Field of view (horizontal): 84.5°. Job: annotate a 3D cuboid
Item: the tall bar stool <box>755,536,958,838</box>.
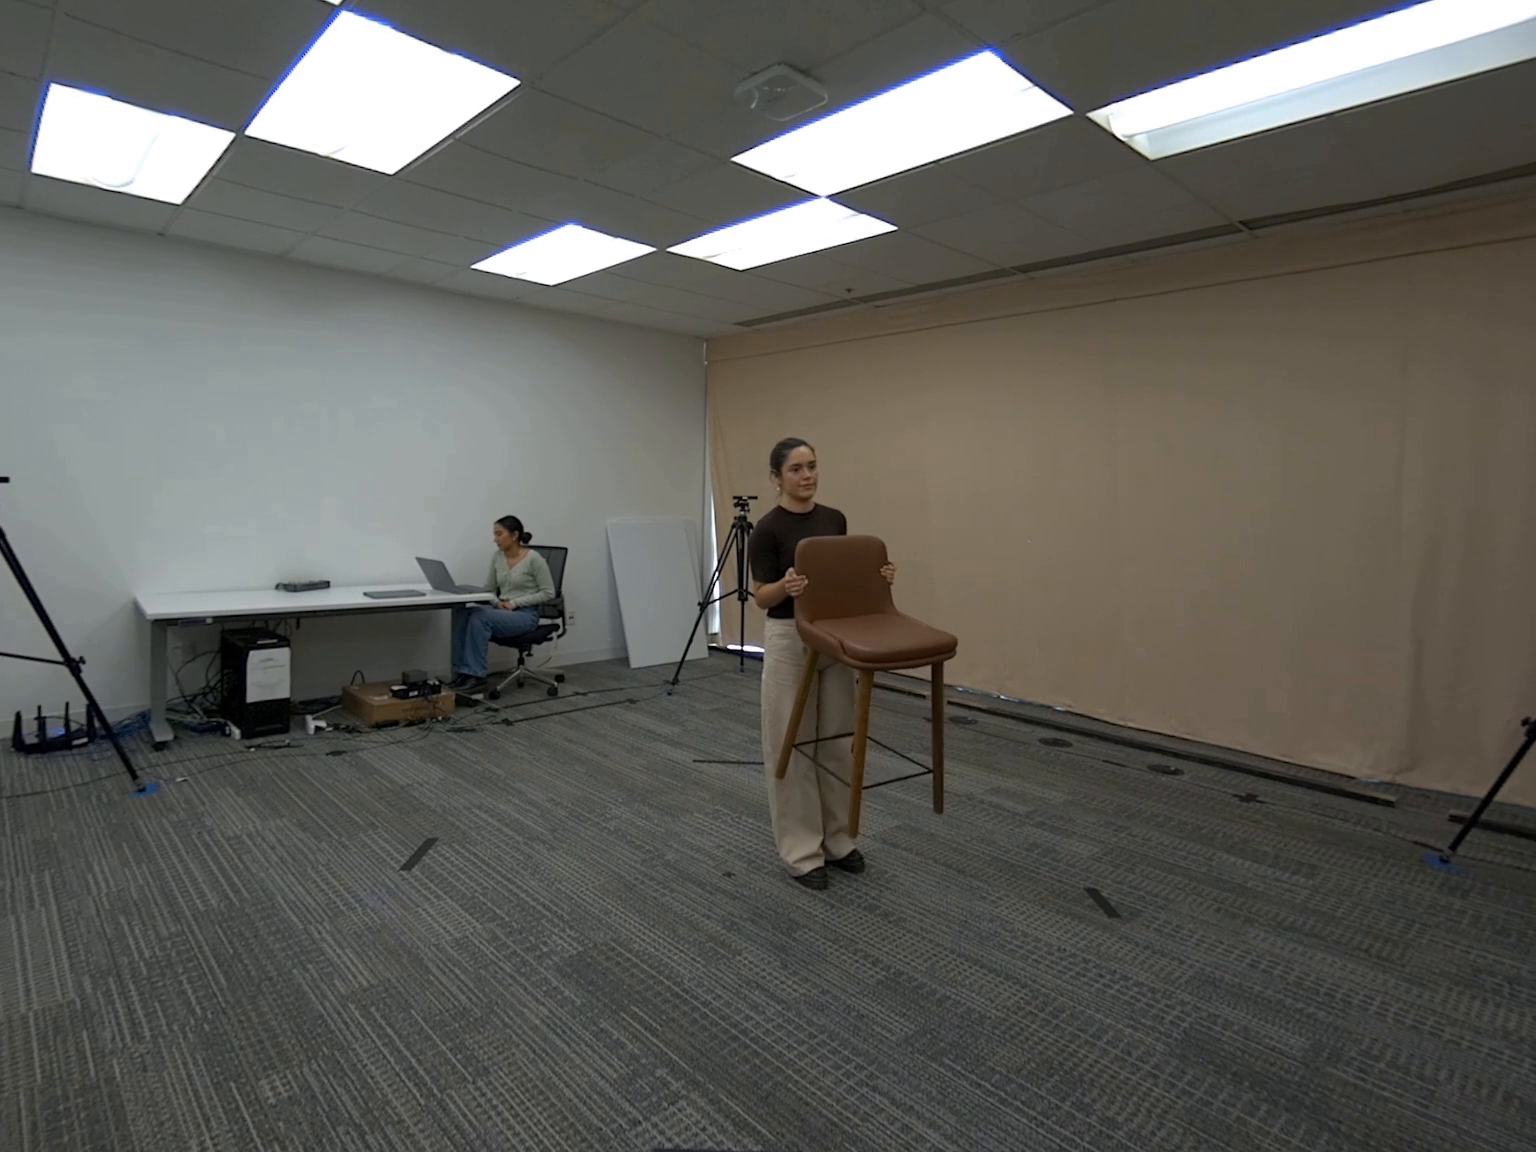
[{"bbox_3d":[0.337,0.347,2.851,0.447,0.884,0.480,-1,11,-33],"label":"tall bar stool"}]
